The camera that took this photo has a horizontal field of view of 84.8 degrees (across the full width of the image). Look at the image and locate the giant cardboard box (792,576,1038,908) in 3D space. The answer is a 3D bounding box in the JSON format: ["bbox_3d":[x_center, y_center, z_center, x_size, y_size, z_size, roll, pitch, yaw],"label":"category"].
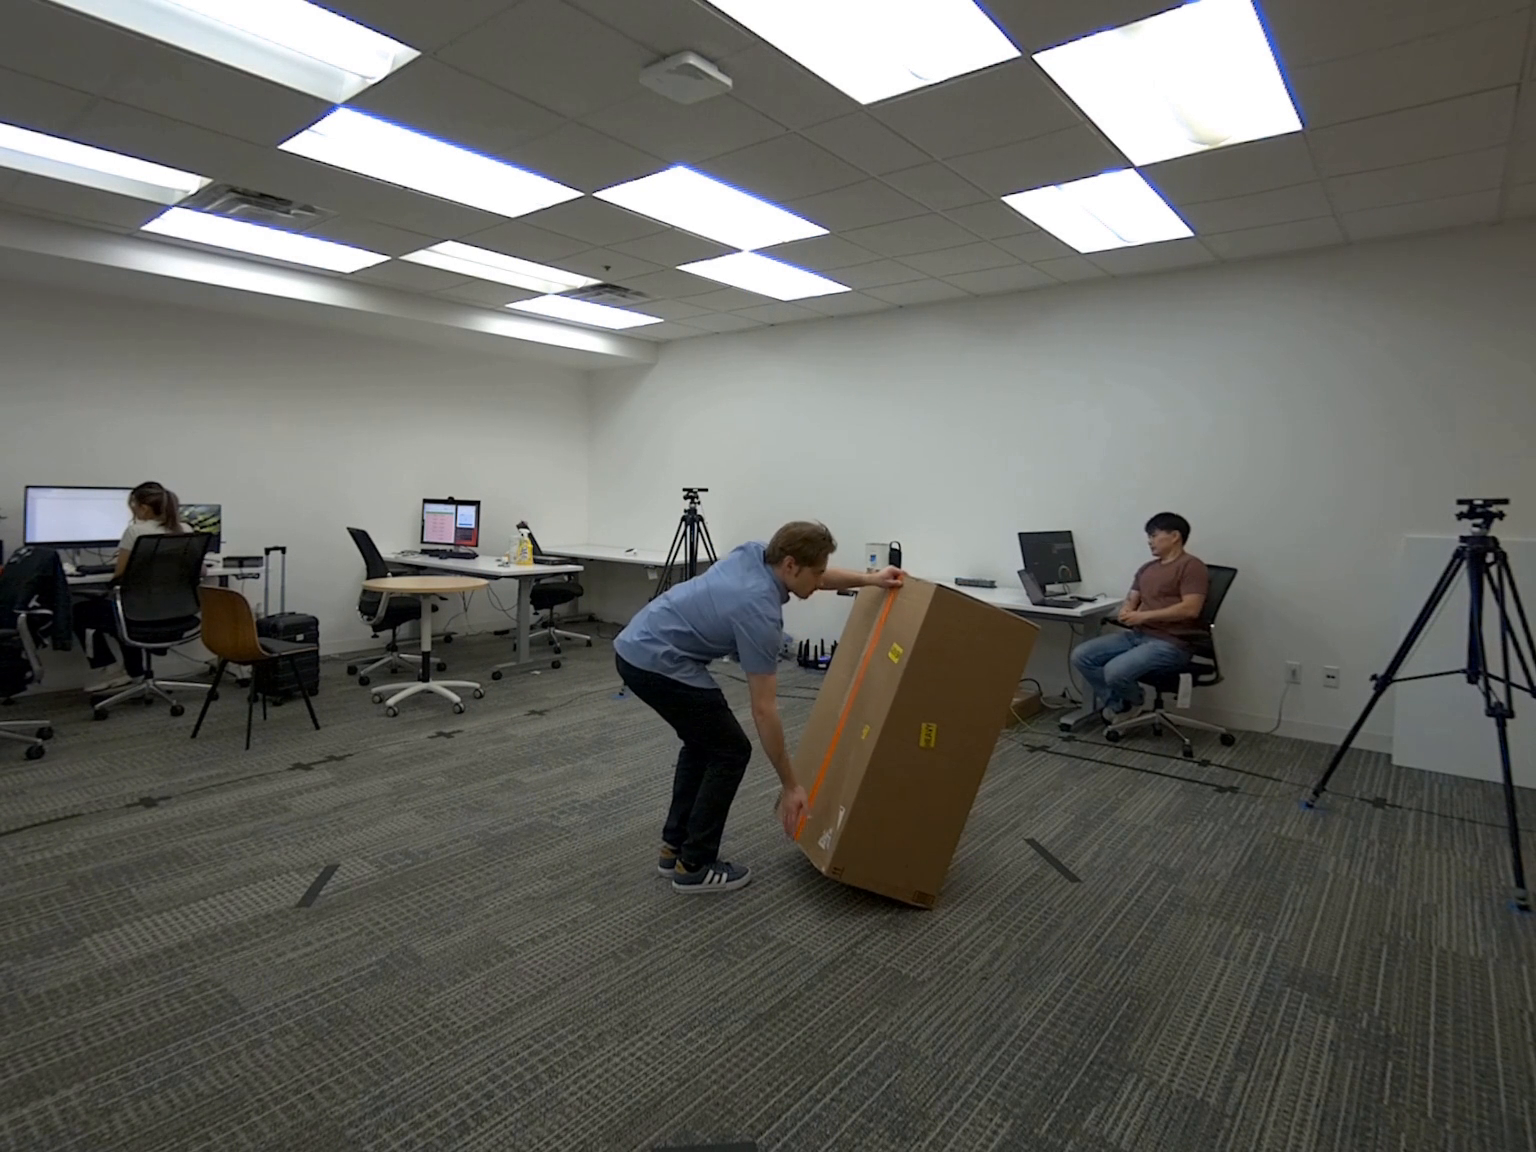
[{"bbox_3d":[0.460,0.536,3.085,0.439,1.028,0.594,22,-2,-15],"label":"giant cardboard box"}]
